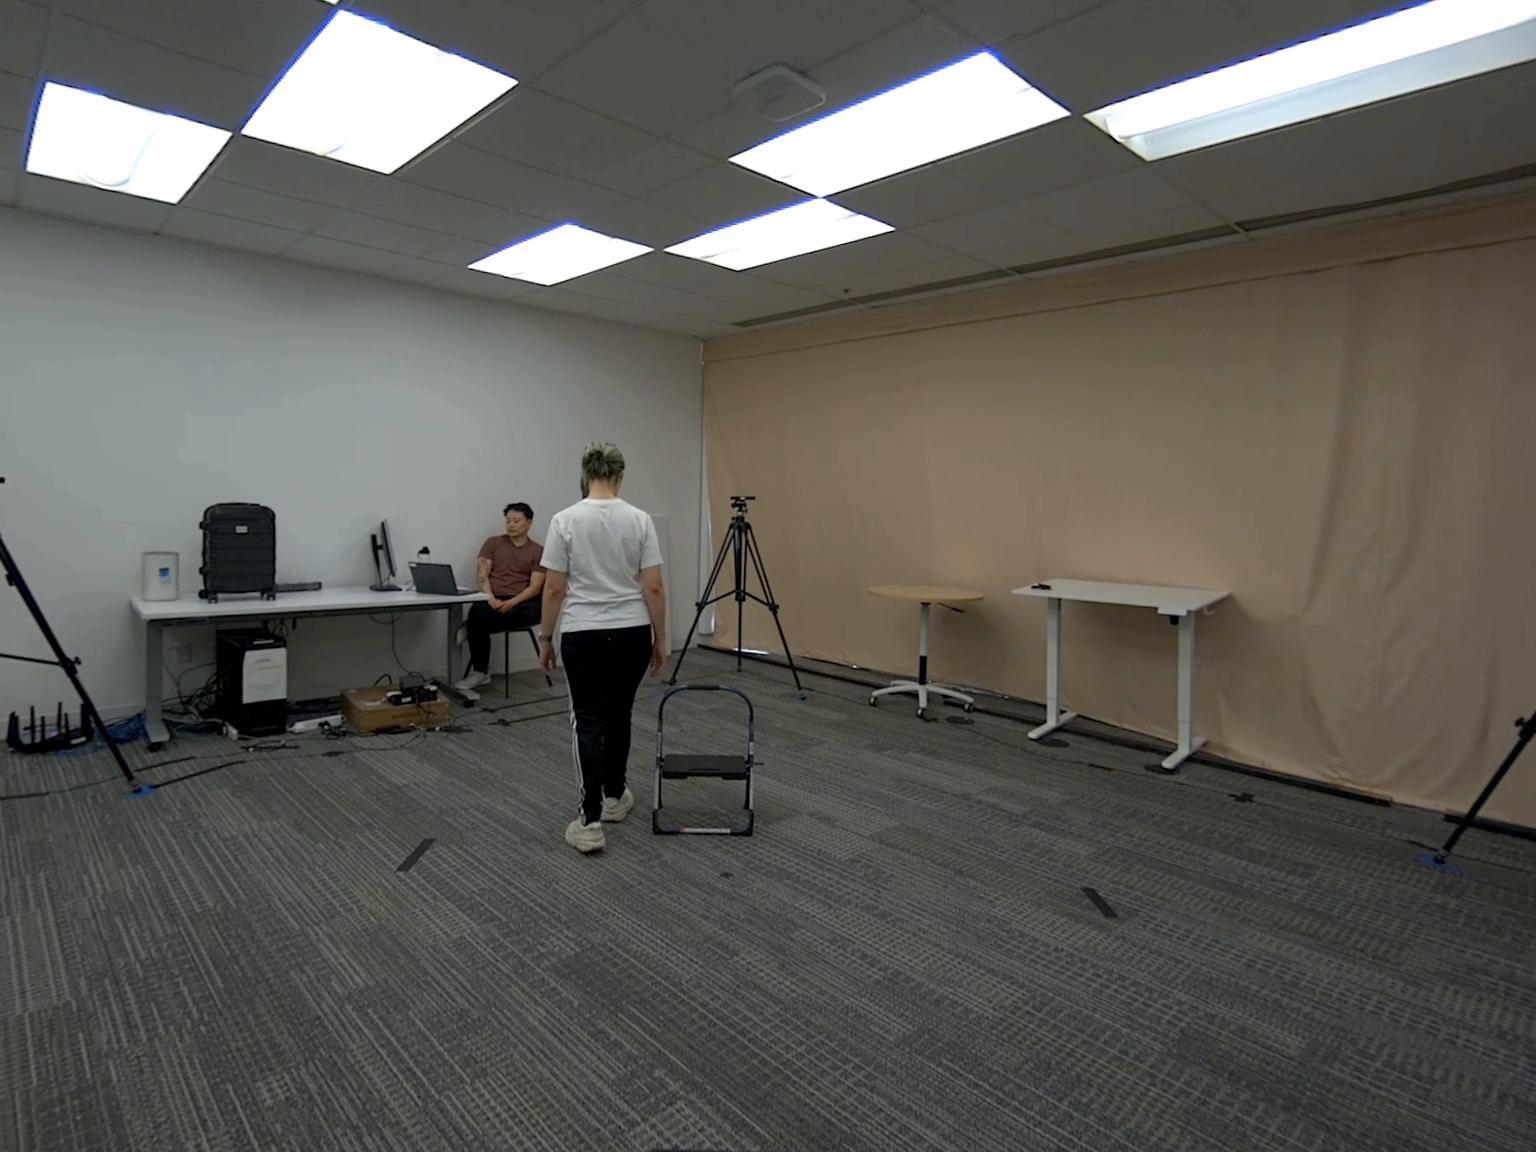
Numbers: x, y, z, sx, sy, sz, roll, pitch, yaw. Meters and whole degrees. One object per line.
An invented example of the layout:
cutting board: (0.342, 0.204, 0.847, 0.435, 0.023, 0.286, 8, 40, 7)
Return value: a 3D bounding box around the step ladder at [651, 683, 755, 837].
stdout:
step ladder: (-0.279, 0.759, 3.623, 0.429, 0.605, 0.351, 1, 3, -4)
